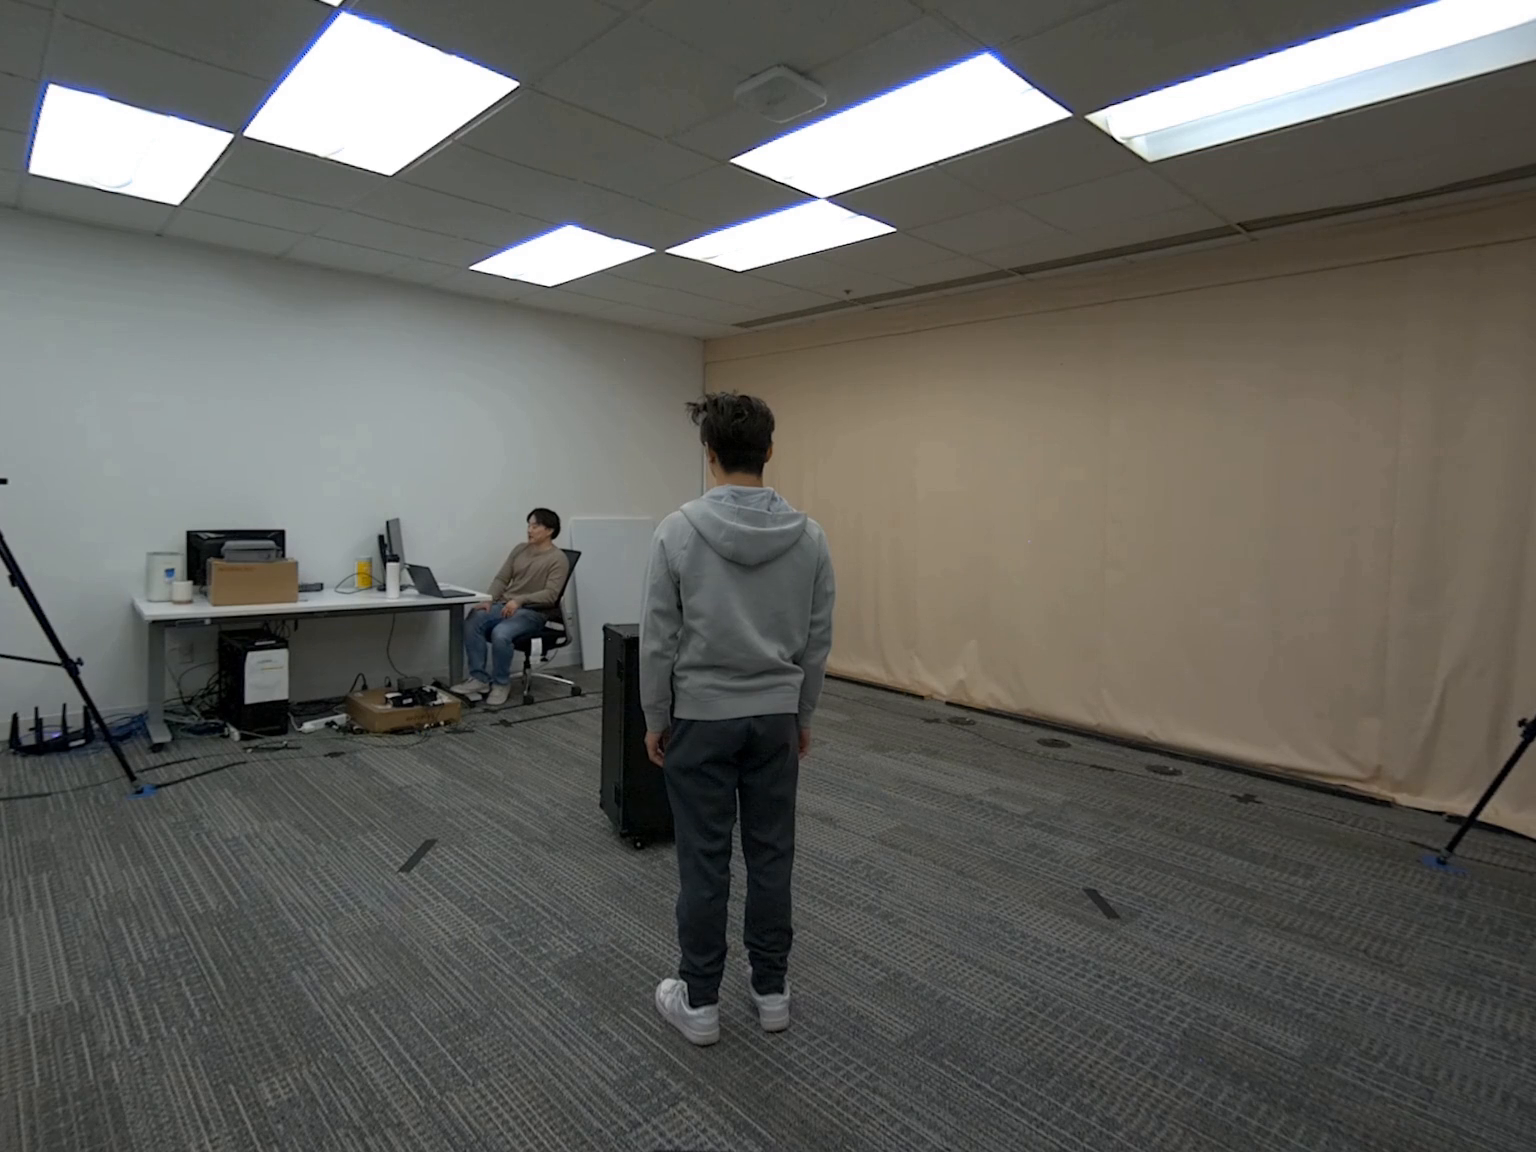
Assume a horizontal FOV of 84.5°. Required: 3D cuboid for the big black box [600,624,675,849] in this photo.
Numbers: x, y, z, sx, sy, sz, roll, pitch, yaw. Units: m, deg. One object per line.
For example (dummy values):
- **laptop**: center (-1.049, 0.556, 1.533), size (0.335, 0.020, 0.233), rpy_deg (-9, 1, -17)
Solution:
- **big black box**: center (-0.431, 0.643, 3.497), size (0.512, 0.860, 0.404), rpy_deg (0, 2, -24)
